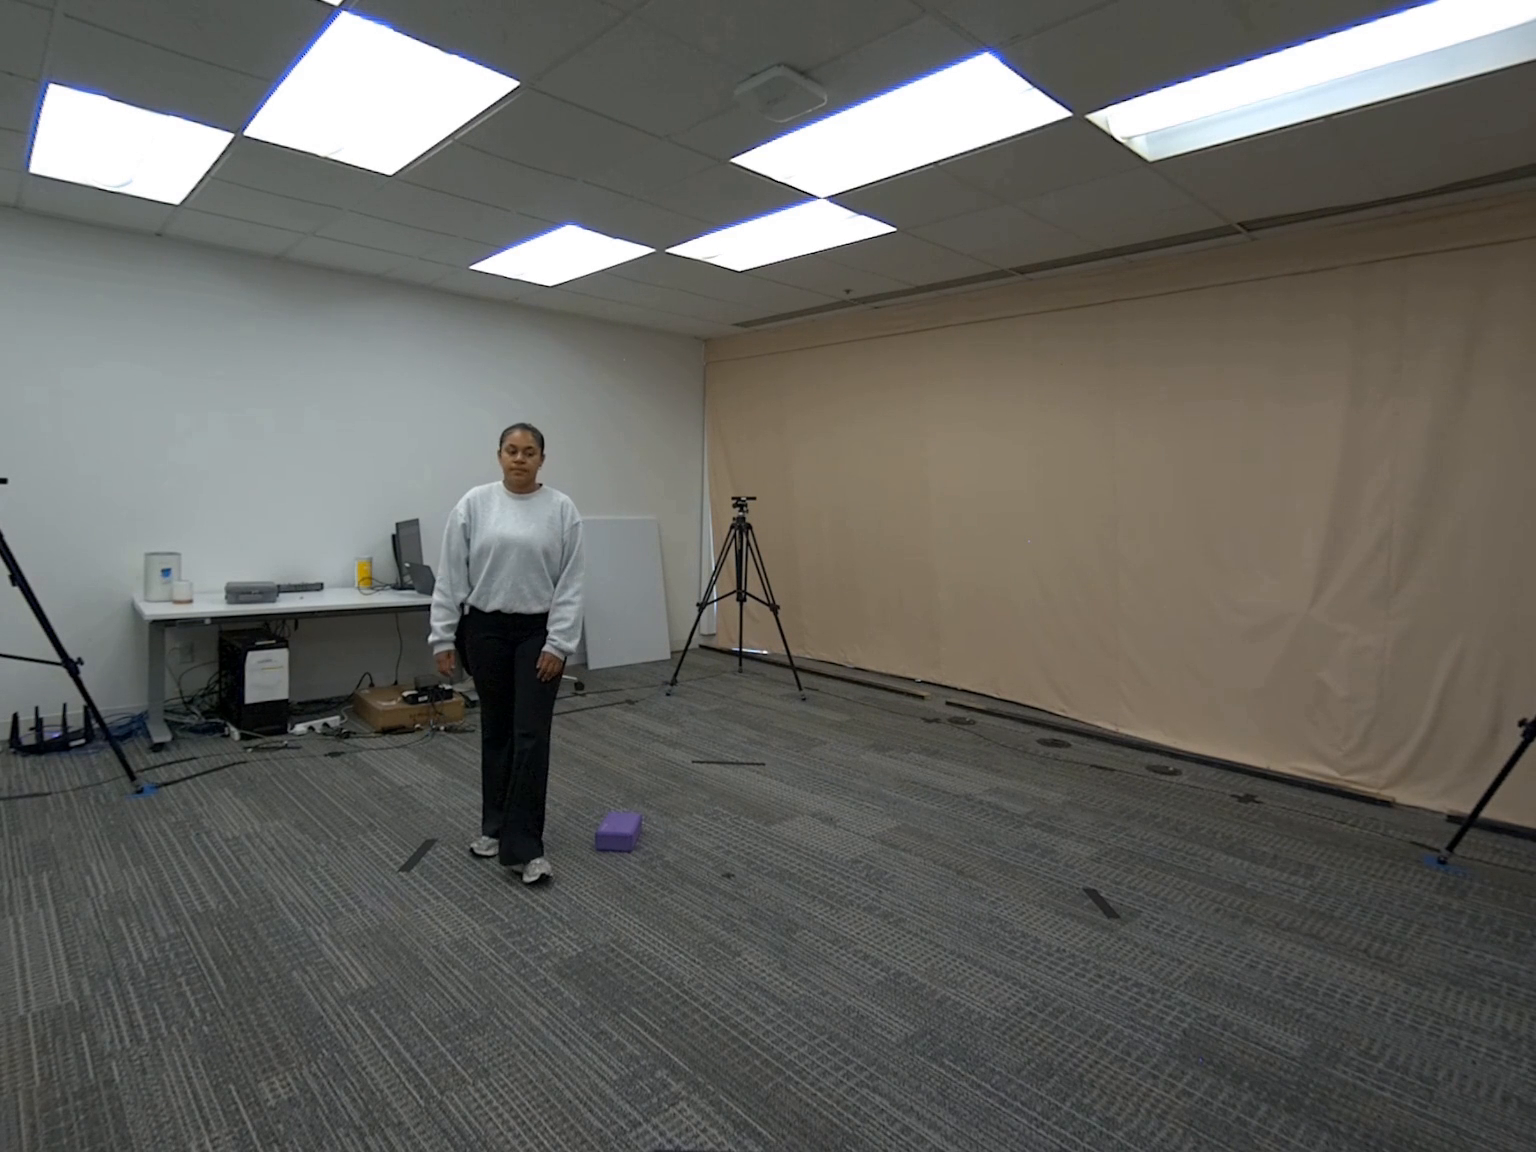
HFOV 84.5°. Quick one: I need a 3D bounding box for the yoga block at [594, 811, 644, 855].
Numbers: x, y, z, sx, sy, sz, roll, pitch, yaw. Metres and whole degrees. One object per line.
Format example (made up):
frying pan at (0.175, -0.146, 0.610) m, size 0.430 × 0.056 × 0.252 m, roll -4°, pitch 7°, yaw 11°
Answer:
yoga block at (-0.609, 1.026, 3.397) m, size 0.149 × 0.076 × 0.229 m, roll 5°, pitch 5°, yaw 3°
